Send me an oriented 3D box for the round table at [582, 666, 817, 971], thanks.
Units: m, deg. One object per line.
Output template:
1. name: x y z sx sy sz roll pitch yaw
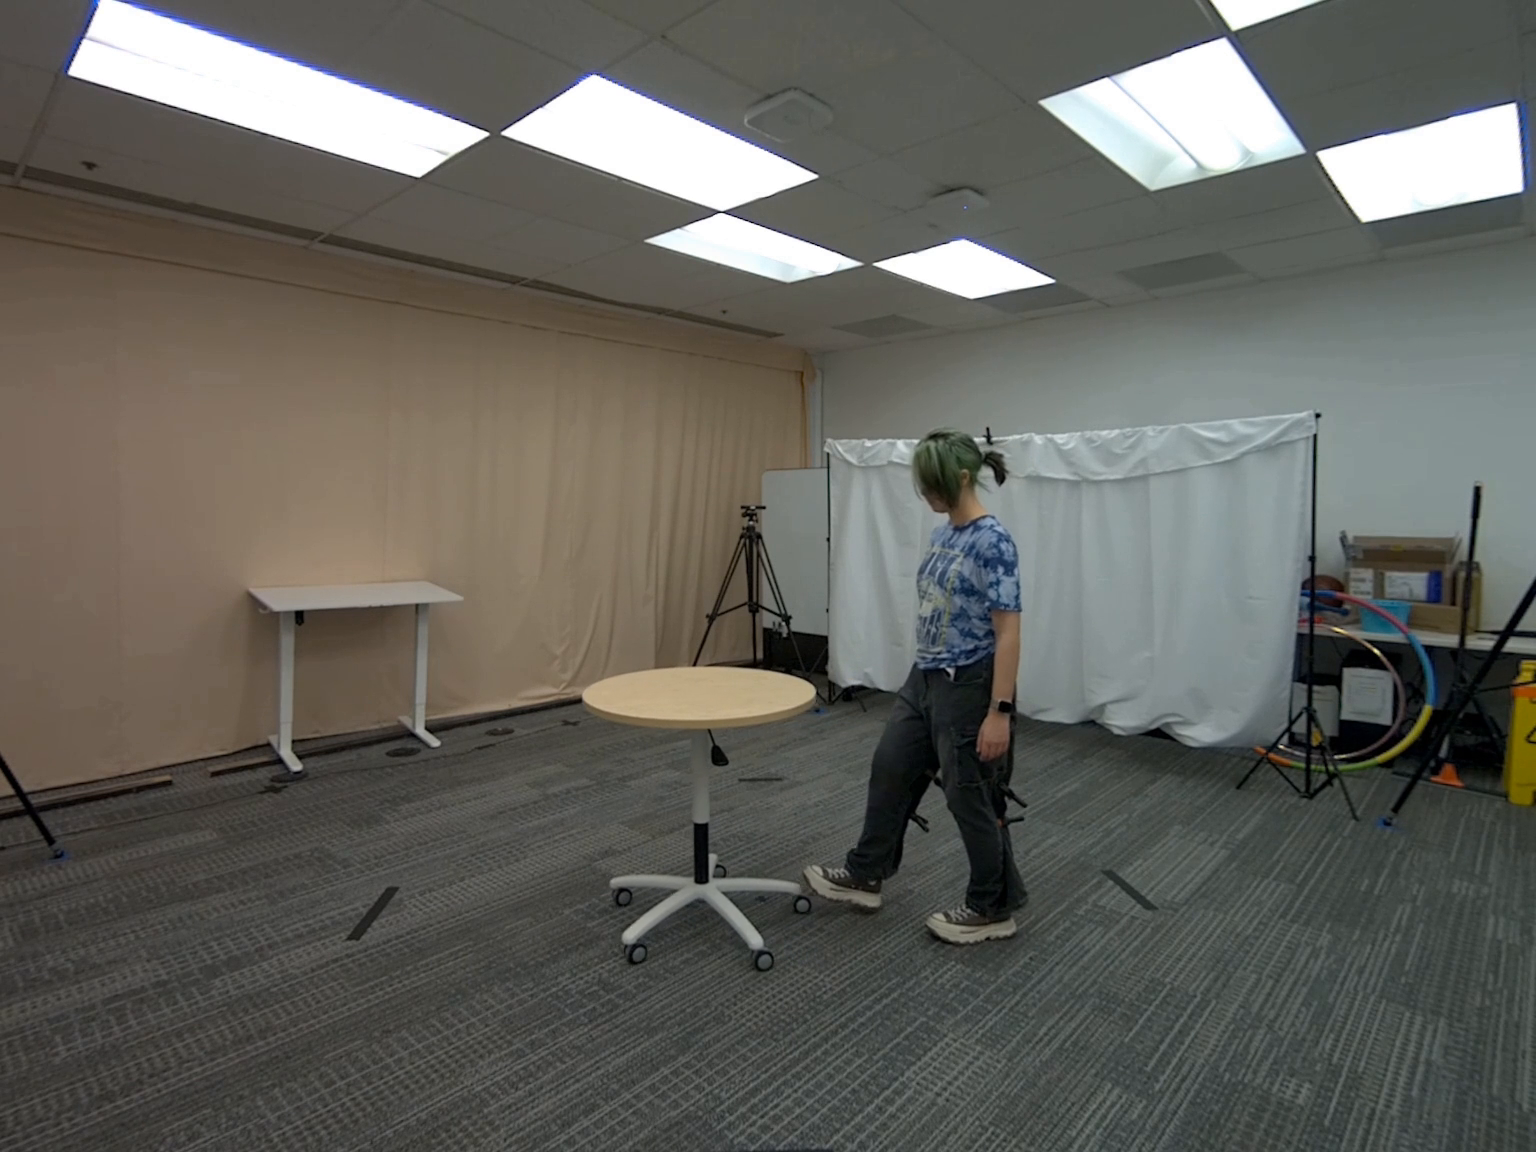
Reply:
1. round table: -0.223 0.774 2.802 0.763 0.792 0.767 0 4 -2
